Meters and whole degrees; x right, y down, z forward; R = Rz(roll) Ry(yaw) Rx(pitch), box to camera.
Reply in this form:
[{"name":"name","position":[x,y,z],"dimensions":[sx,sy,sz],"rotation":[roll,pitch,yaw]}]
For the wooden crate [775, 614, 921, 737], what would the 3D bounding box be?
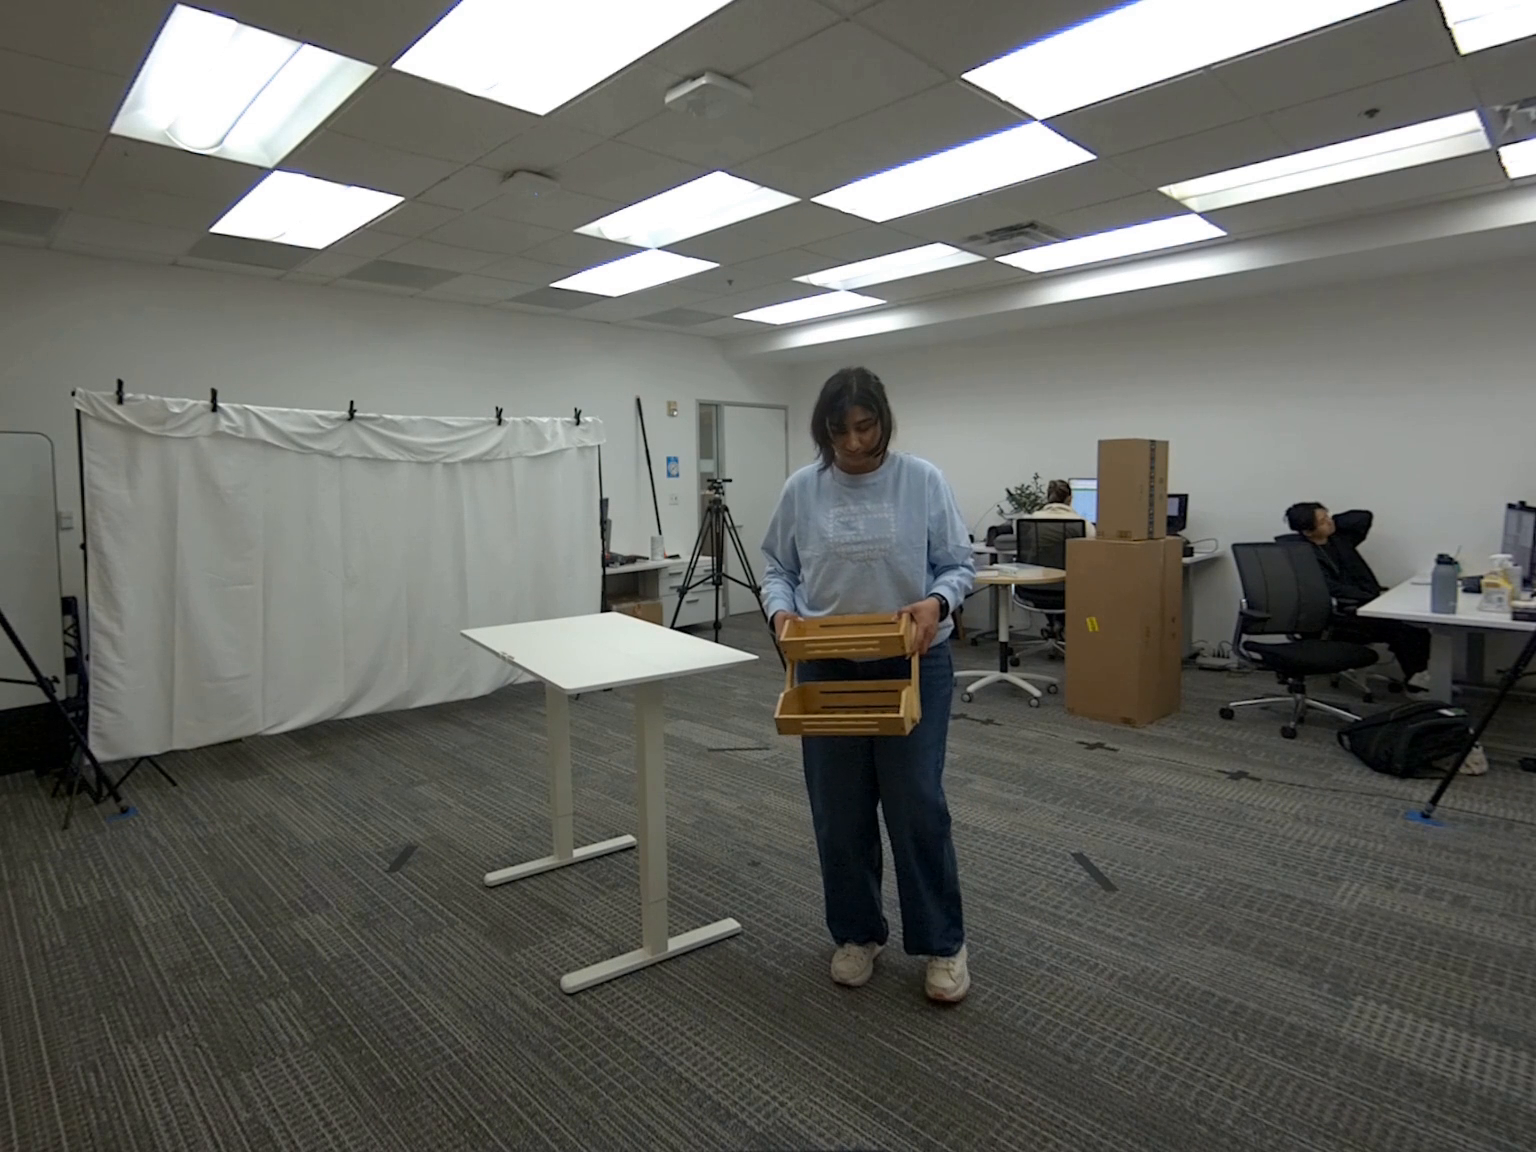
[{"name":"wooden crate","position":[0.201,0.224,2.077],"dimensions":[0.330,0.274,0.296],"rotation":[-4,-1,20]}]
